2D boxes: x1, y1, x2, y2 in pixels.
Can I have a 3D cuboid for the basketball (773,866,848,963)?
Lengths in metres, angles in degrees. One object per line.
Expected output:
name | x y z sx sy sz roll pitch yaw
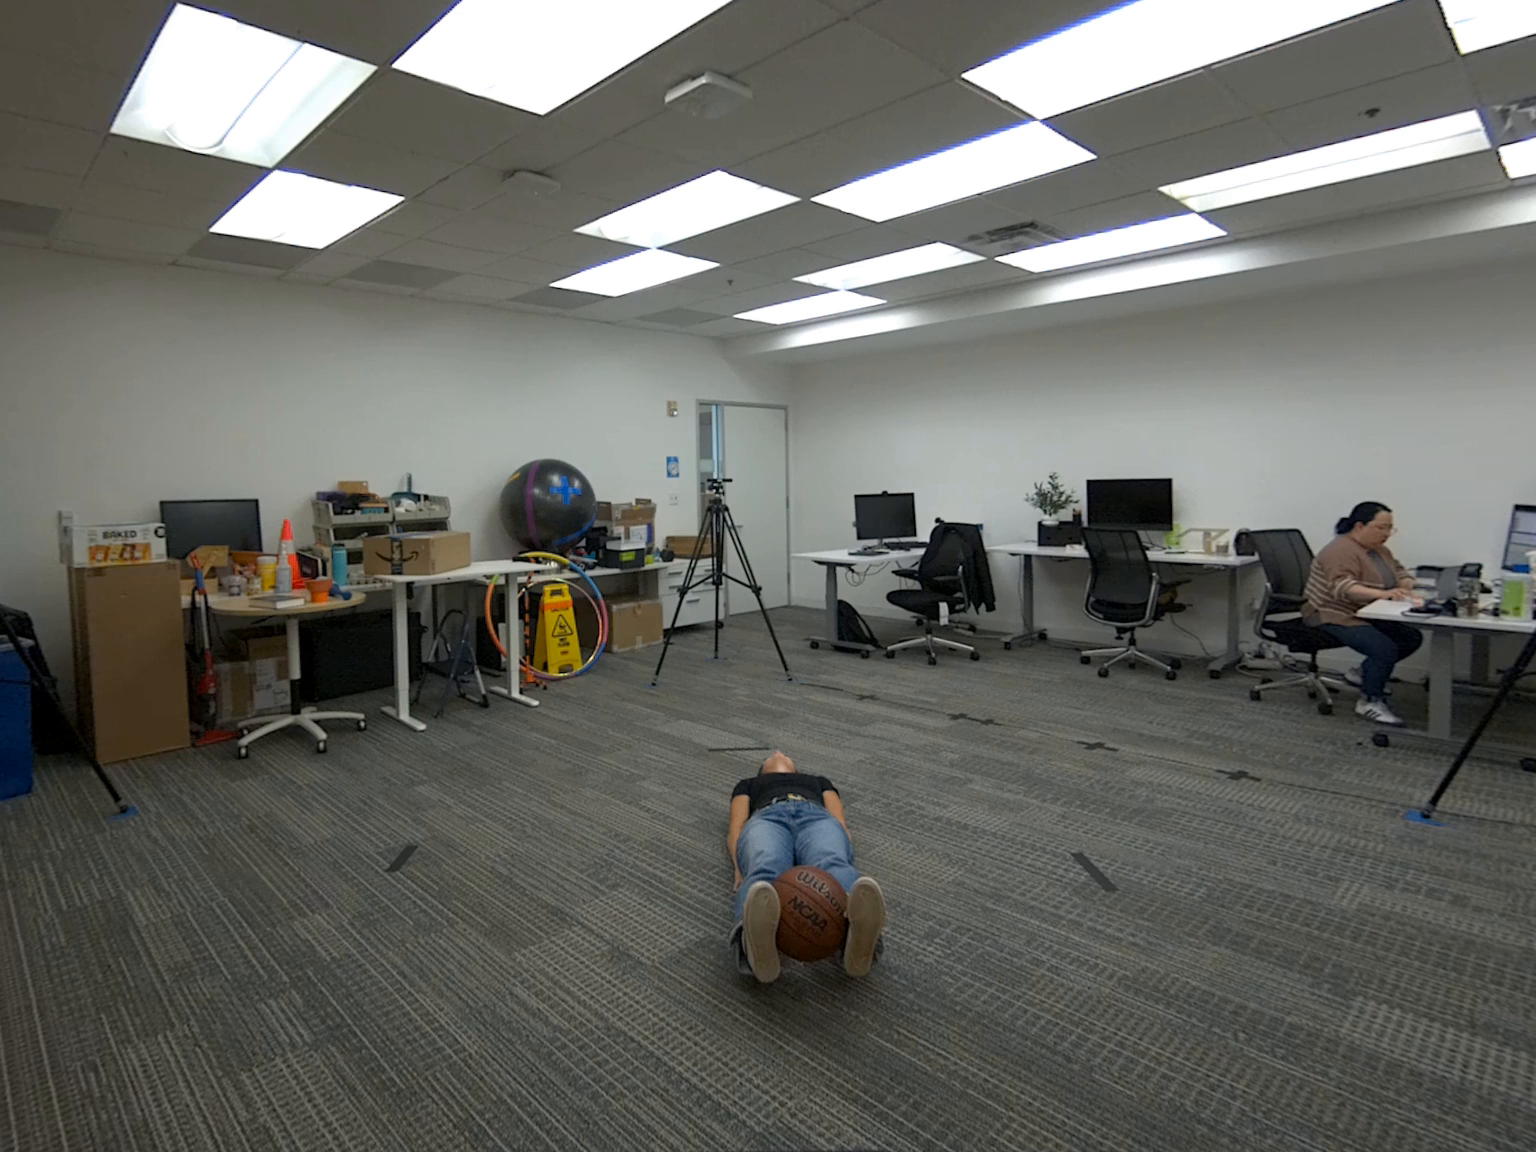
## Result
basketball | 0.115 0.909 2.317 0.236 0.235 0.237 -1 5 -2
